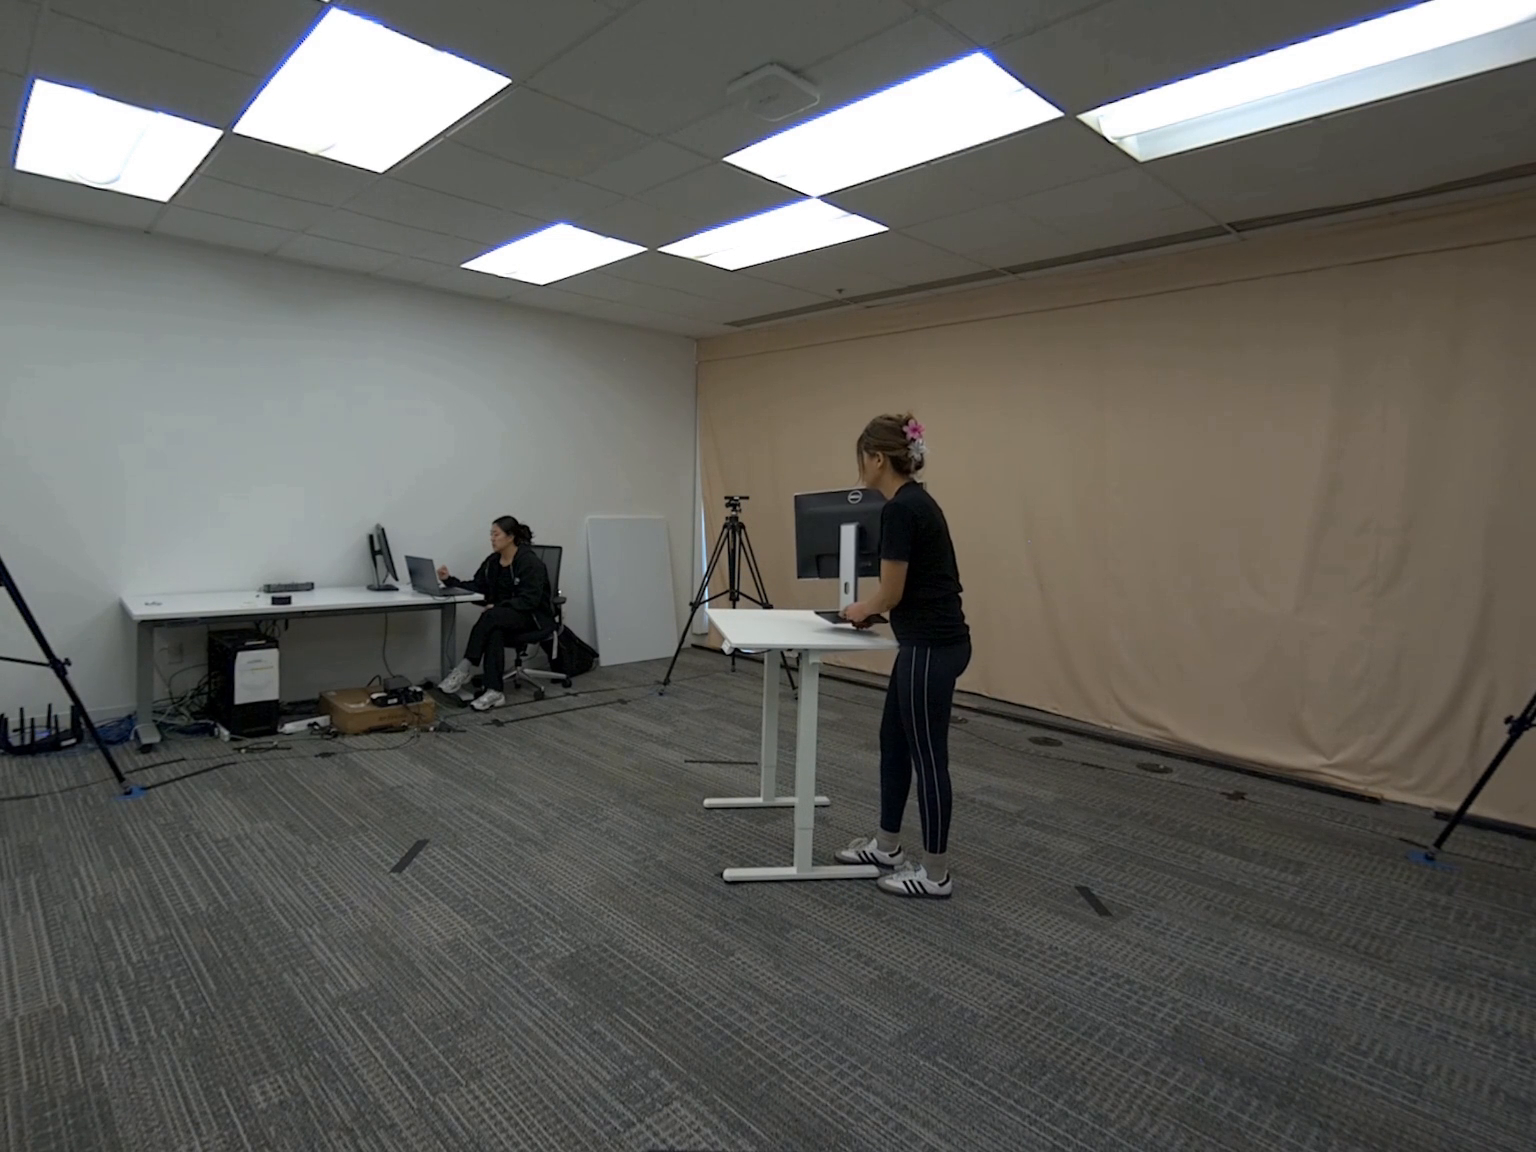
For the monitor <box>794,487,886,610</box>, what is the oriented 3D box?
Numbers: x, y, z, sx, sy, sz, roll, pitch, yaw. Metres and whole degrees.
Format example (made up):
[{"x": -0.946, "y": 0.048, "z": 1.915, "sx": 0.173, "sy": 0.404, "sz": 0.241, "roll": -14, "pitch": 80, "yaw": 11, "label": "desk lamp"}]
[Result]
[{"x": 0.345, "y": -0.092, "z": 3.329, "sx": 0.549, "sy": 0.528, "sz": 0.182, "roll": -3, "pitch": -16, "yaw": 27, "label": "monitor"}]
